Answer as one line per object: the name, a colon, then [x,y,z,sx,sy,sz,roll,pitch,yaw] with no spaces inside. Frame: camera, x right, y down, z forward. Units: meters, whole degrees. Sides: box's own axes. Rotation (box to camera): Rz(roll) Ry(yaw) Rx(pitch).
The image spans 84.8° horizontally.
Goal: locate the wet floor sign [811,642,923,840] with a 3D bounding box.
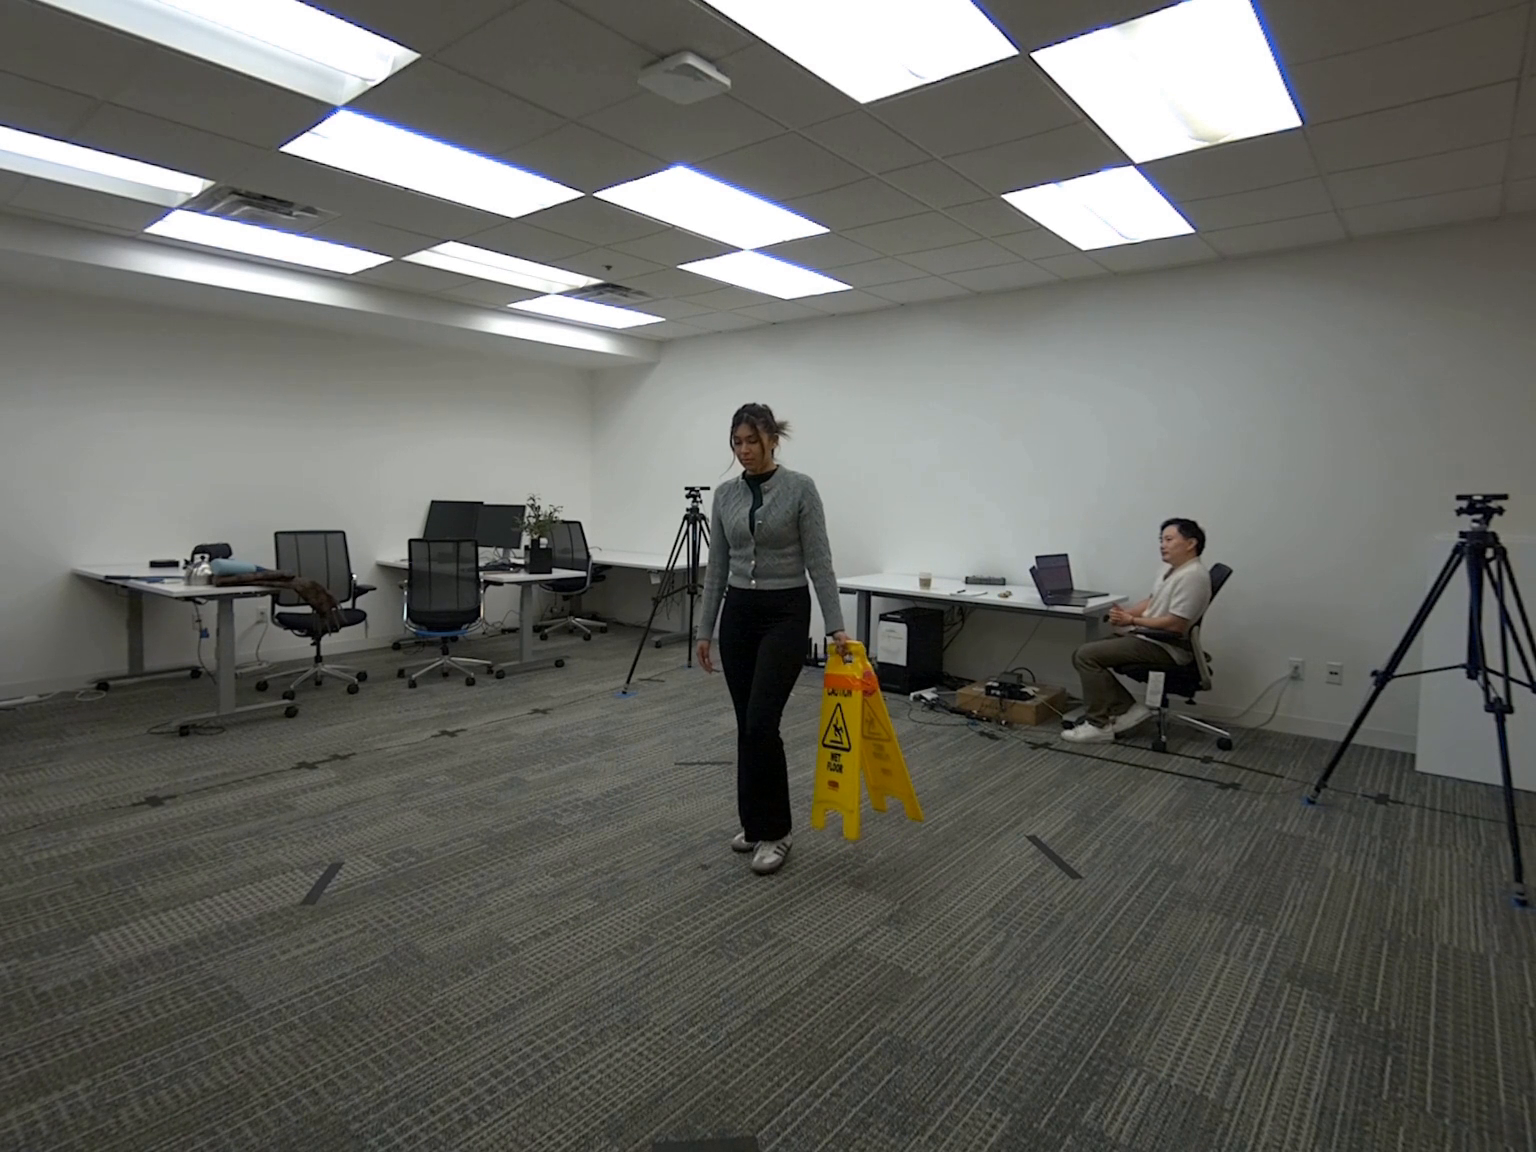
wet floor sign: [0.304,0.556,3.034,0.282,0.649,0.288,-5,-5,-30]
